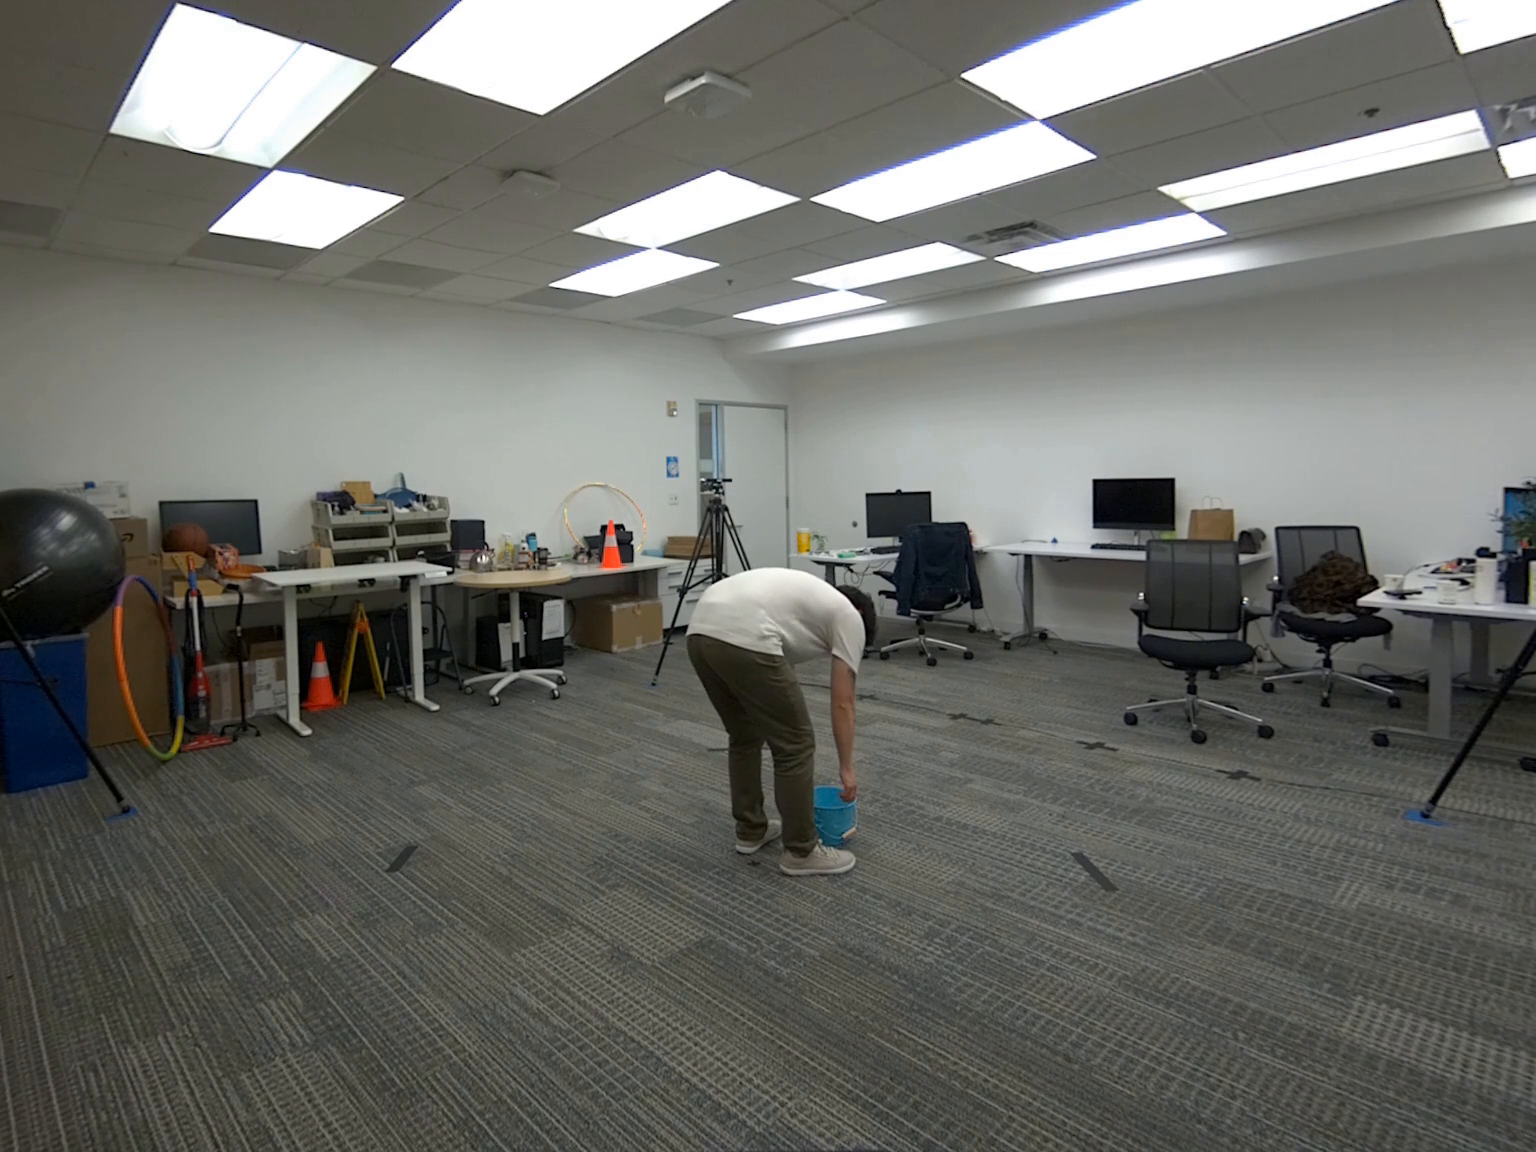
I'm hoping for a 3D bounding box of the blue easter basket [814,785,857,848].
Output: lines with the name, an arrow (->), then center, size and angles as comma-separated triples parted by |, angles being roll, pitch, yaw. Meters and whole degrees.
blue easter basket -> 0.230, 0.931, 3.333 | 0.243, 0.155, 0.245 | -1, 6, -2
